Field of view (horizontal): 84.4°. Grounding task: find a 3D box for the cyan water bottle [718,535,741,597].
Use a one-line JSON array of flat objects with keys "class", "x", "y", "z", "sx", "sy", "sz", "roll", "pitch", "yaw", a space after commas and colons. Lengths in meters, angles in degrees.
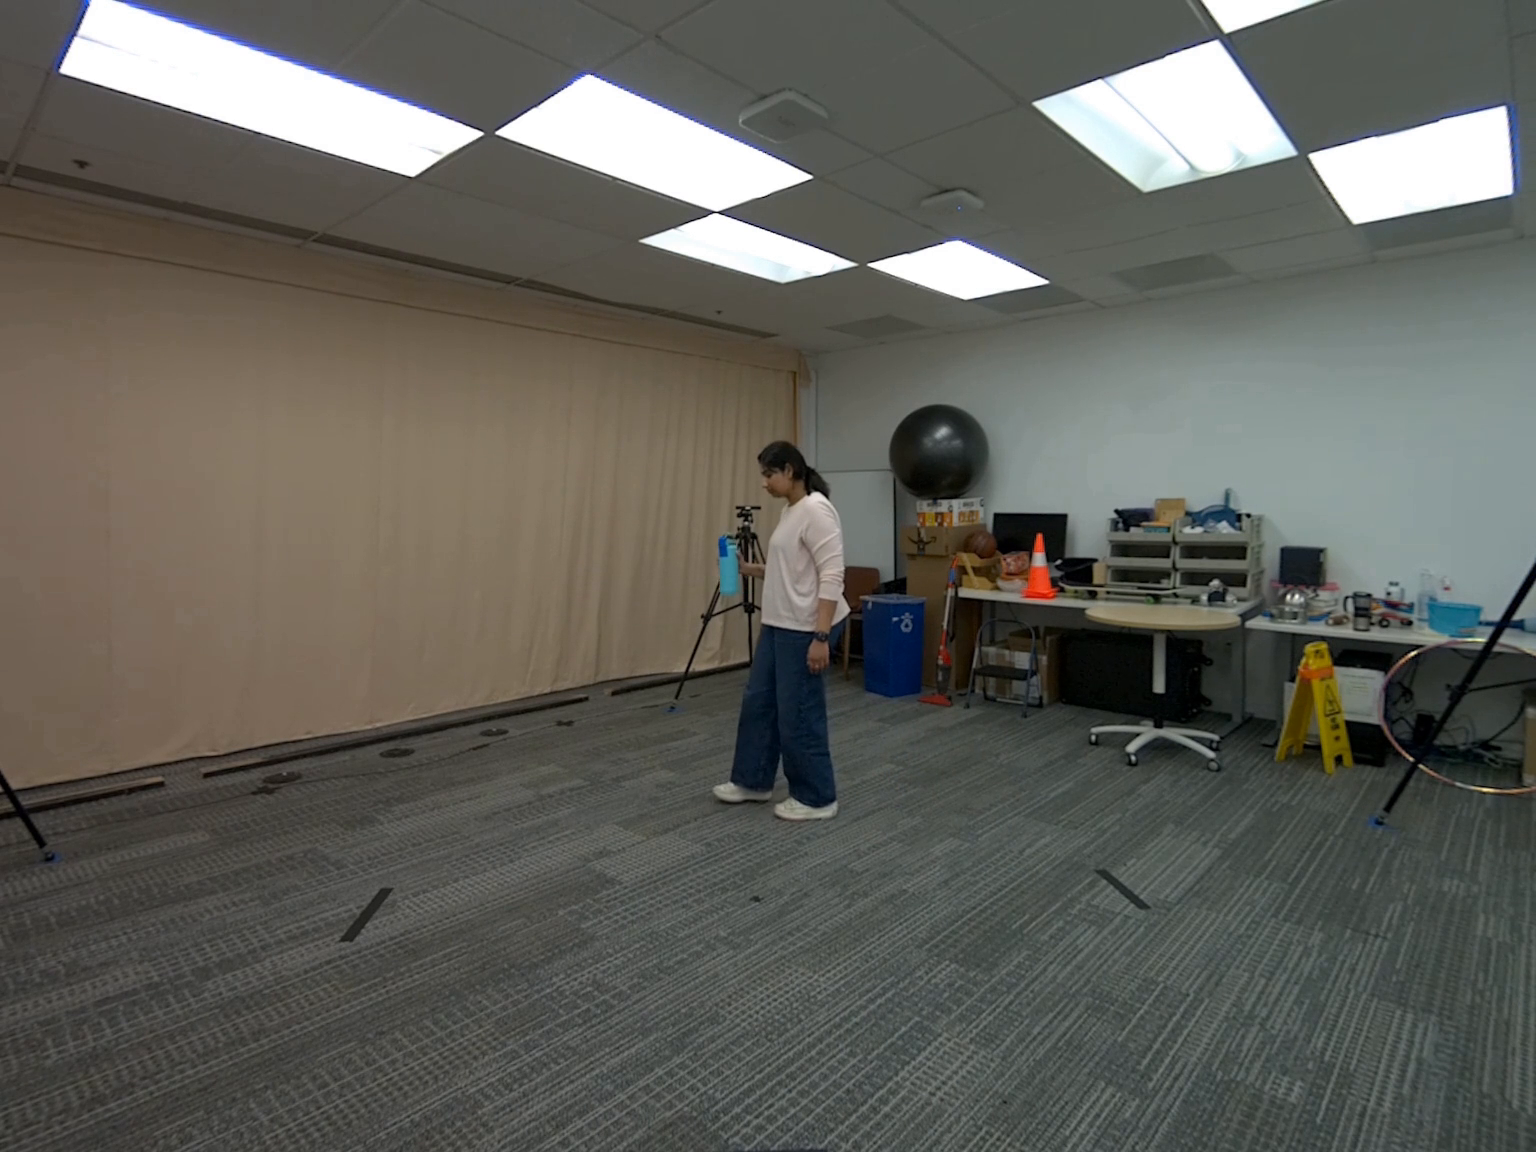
[{"class": "cyan water bottle", "x": -0.180, "y": -0.058, "z": 3.876, "sx": 0.092, "sy": 0.282, "sz": 0.093, "roll": -3, "pitch": 7, "yaw": -1}]
